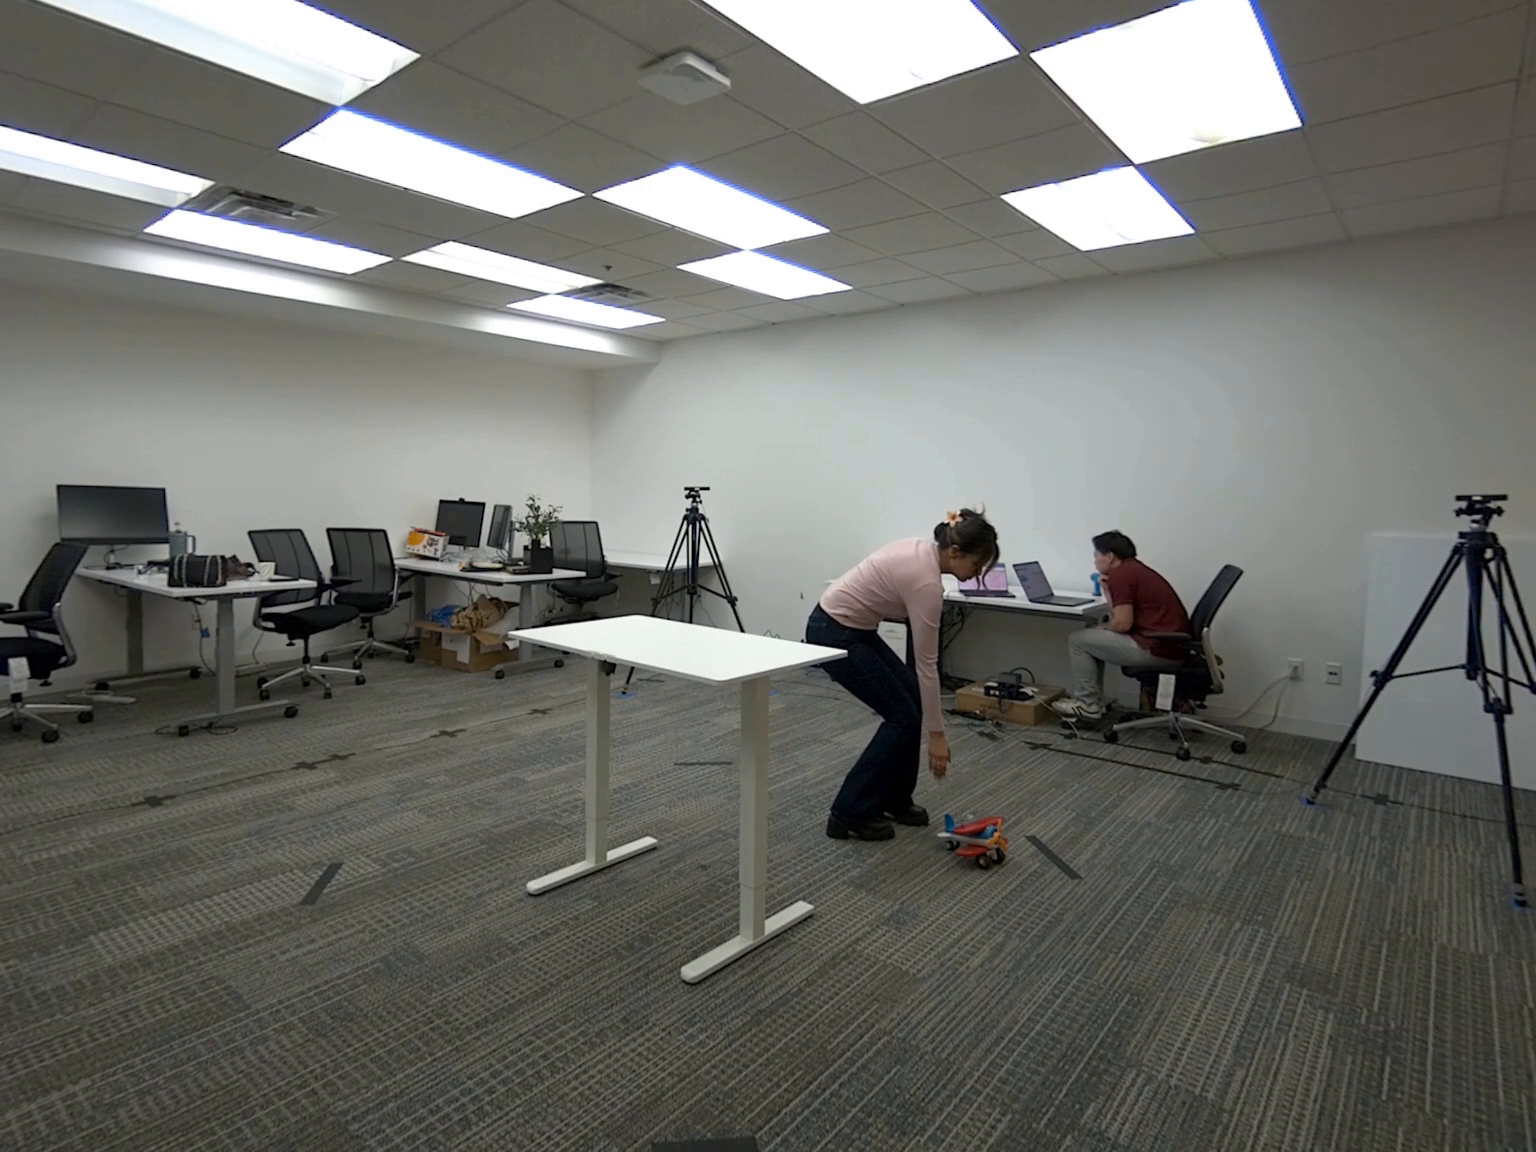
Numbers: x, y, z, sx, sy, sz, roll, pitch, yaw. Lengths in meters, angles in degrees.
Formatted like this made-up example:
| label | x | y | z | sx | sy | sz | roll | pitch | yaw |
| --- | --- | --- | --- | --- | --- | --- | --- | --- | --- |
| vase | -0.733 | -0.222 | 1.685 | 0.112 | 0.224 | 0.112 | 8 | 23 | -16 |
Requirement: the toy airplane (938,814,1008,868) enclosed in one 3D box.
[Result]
| label | x | y | z | sx | sy | sz | roll | pitch | yaw |
| --- | --- | --- | --- | --- | --- | --- | --- | --- | --- |
| toy airplane | 0.762 | 0.995 | 3.241 | 0.266 | 0.156 | 0.246 | 5 | 6 | 24 |
